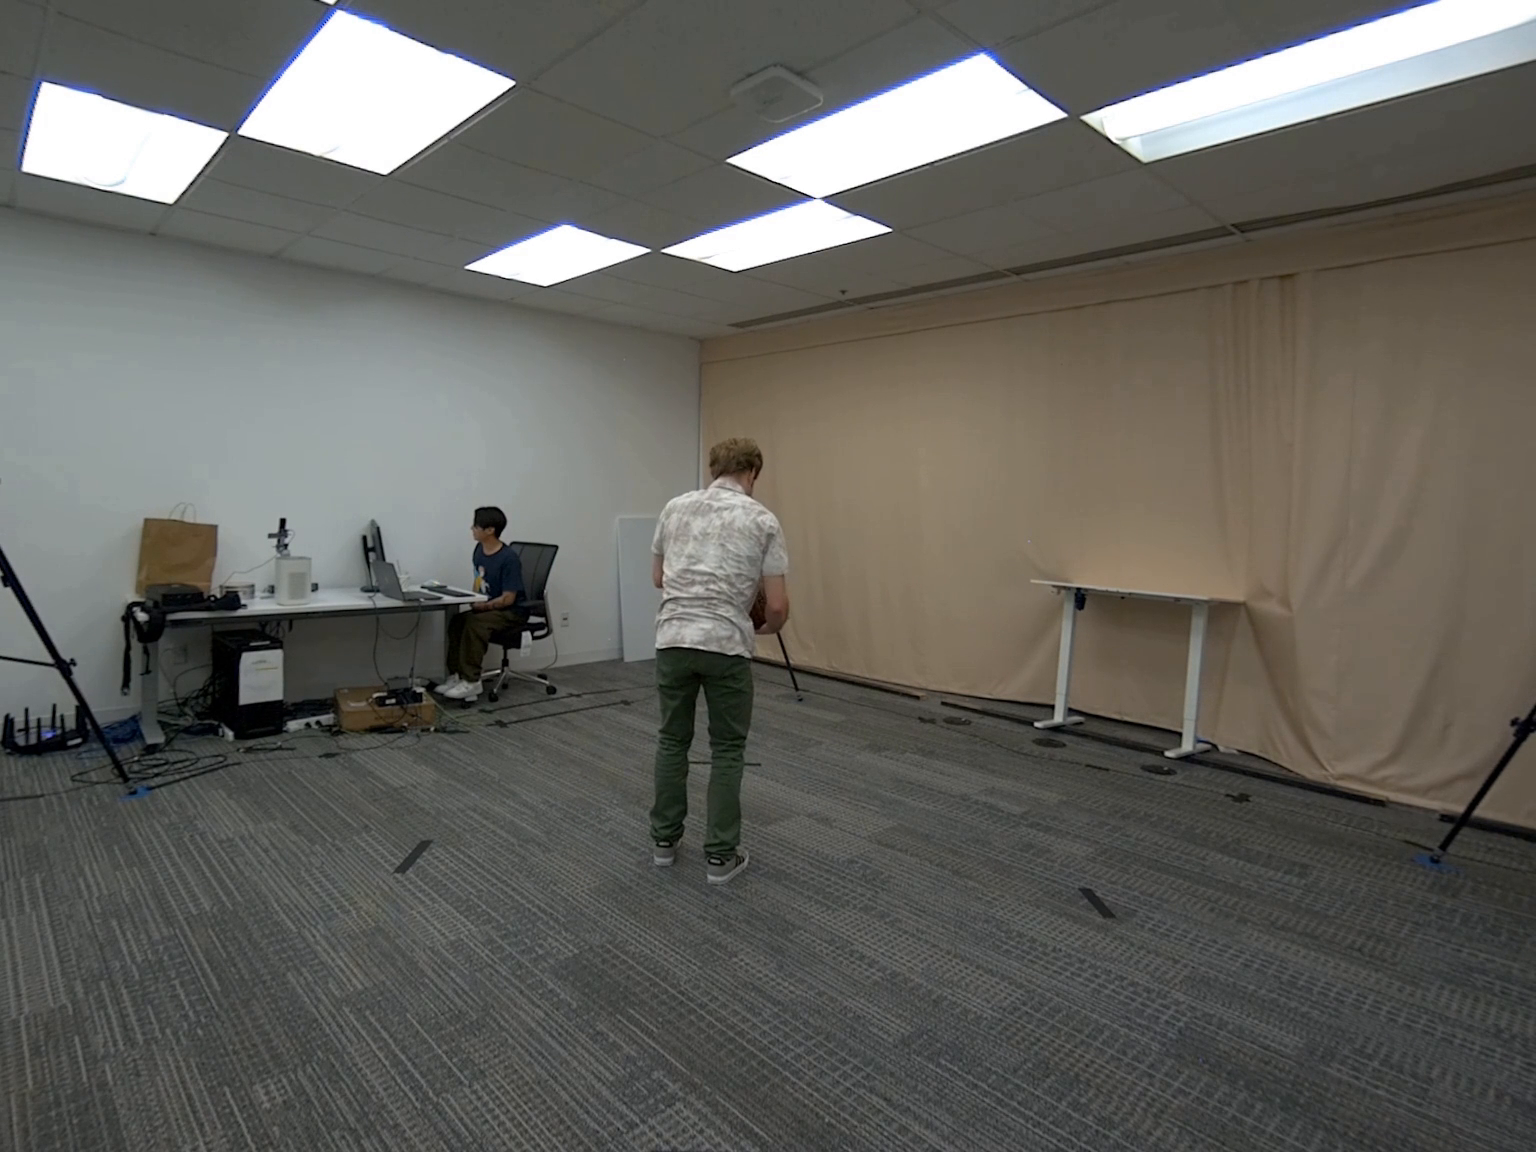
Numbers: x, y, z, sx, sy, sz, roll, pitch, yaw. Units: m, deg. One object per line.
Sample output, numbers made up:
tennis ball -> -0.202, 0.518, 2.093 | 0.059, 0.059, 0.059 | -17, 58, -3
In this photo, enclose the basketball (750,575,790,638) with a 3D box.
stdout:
basketball -> -0.042, 0.111, 3.481 | 0.236, 0.235, 0.237 | 1, 4, -1
